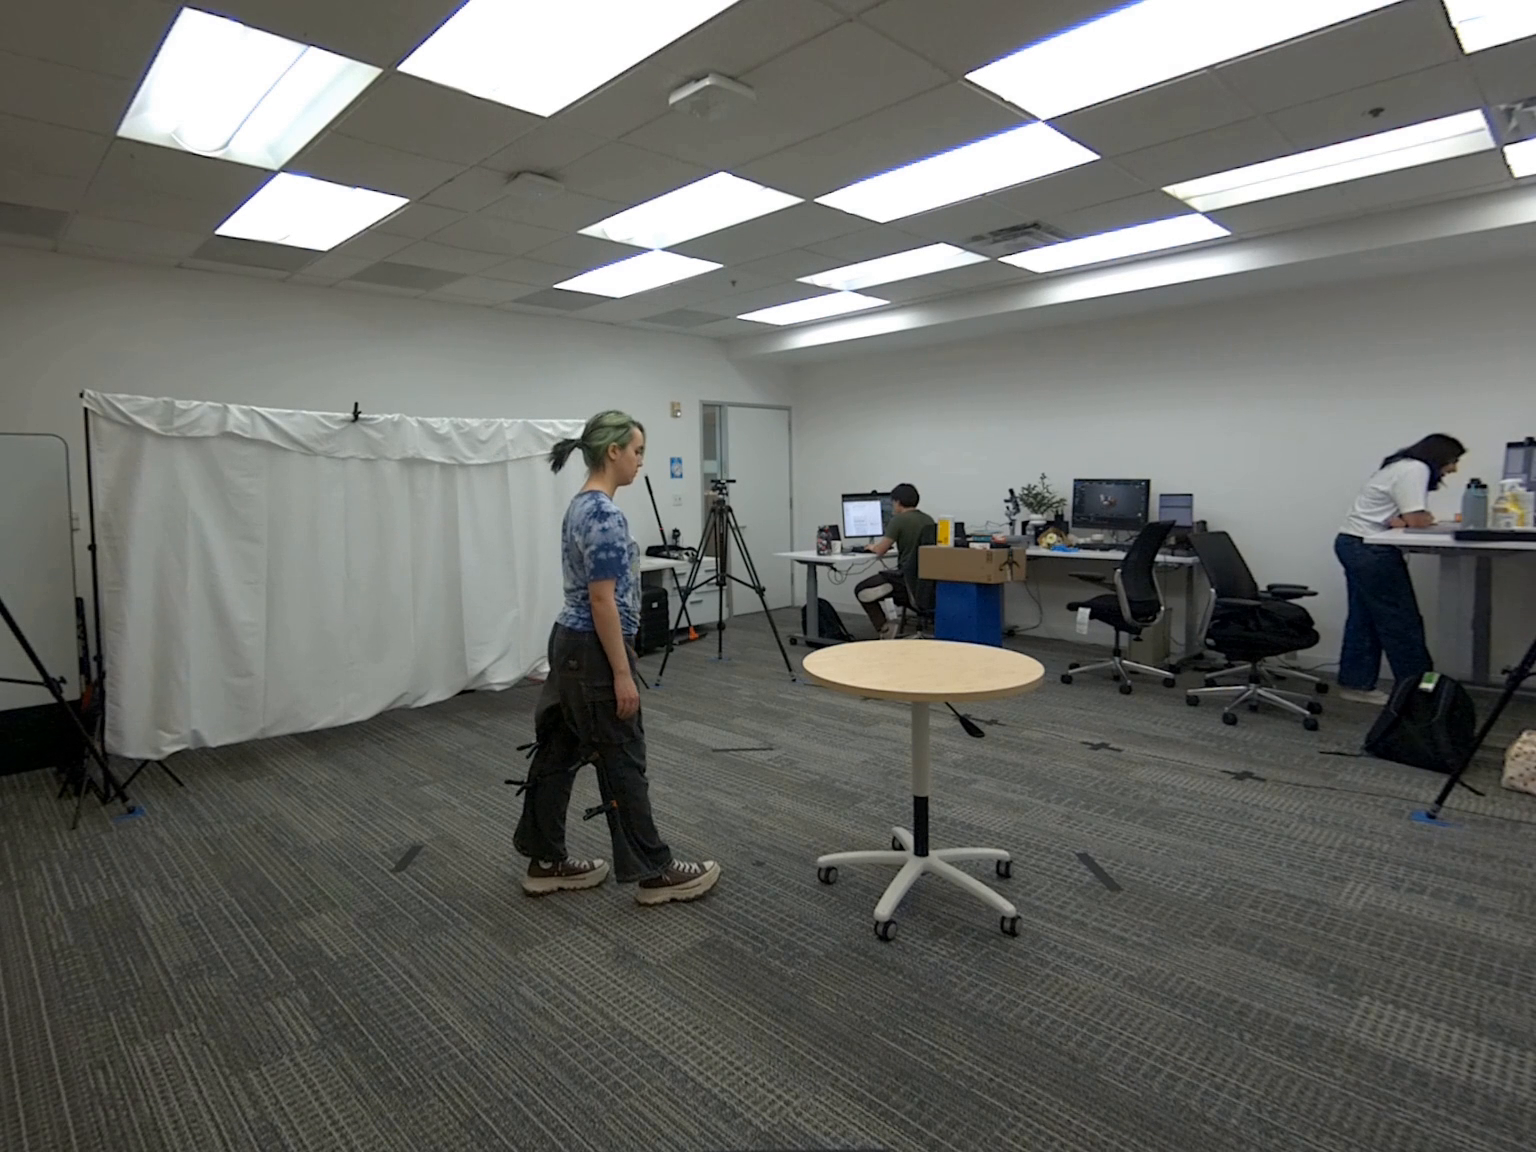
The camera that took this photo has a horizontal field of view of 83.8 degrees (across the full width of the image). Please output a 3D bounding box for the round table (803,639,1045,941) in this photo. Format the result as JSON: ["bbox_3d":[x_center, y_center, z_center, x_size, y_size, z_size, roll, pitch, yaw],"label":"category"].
[{"bbox_3d":[0.495,0.674,2.817,0.784,0.783,0.789,-1,5,-2],"label":"round table"}]
